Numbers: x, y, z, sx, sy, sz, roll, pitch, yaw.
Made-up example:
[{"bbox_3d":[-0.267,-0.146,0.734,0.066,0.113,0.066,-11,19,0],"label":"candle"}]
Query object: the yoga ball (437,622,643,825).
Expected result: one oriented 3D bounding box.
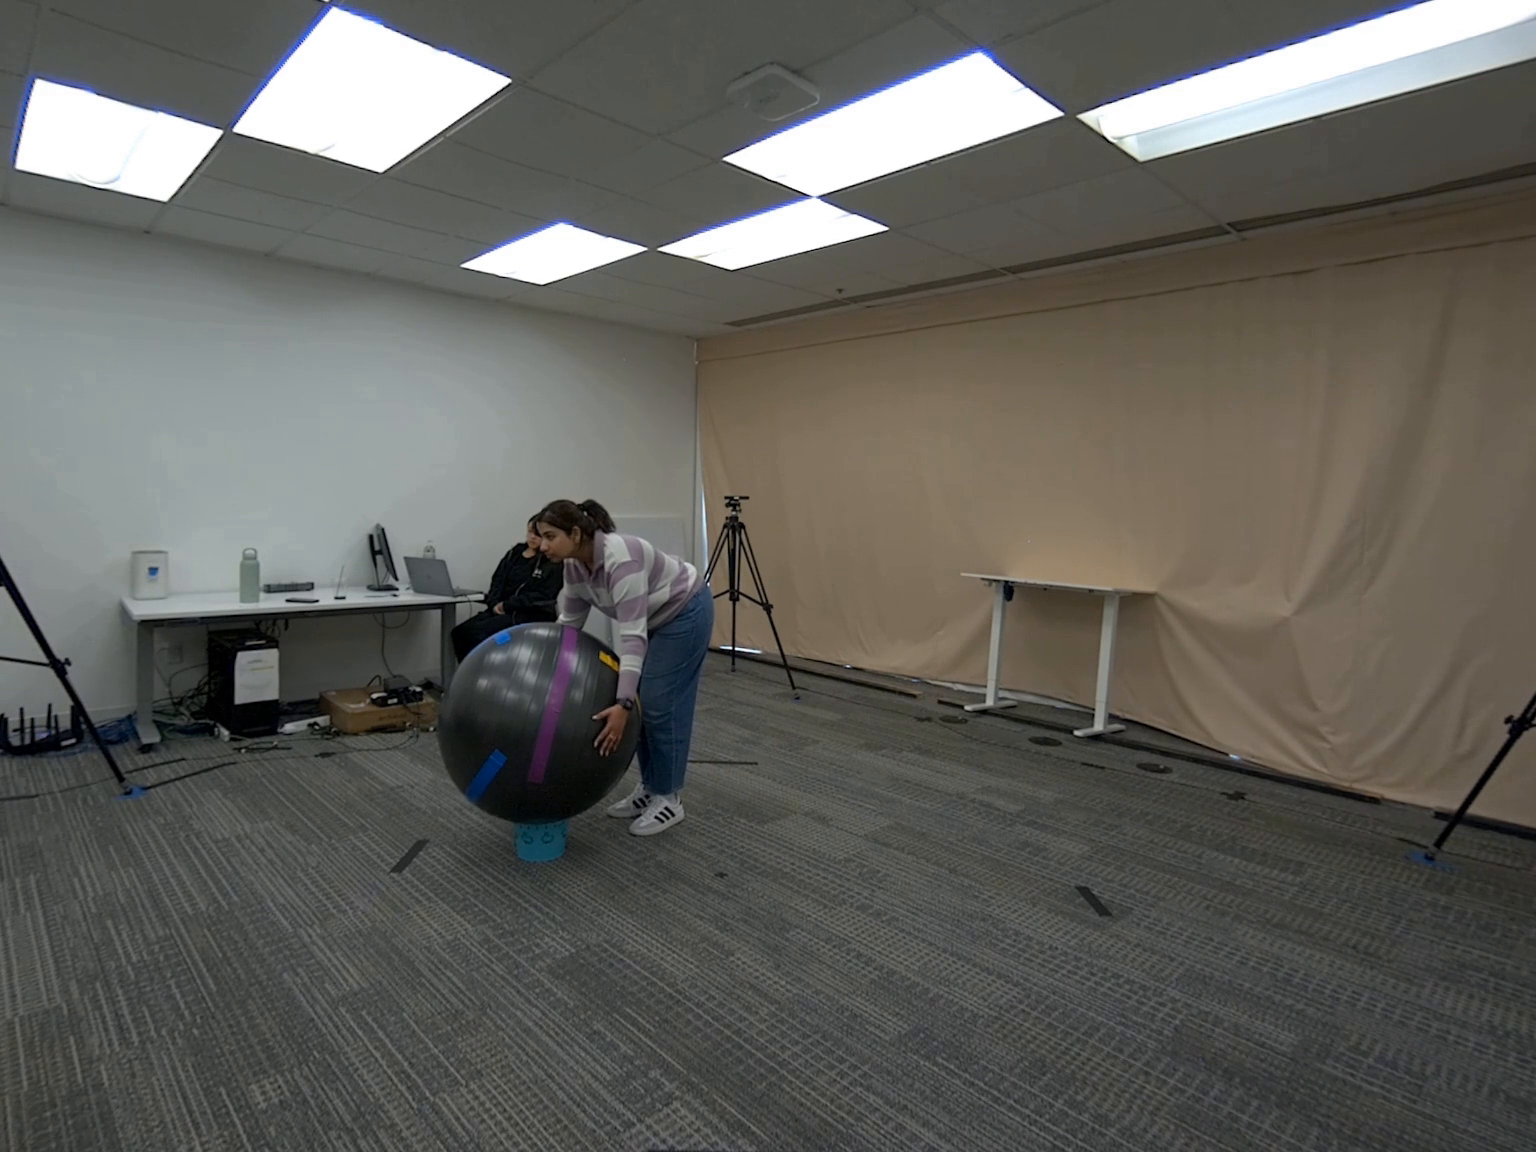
[{"bbox_3d":[-0.883,0.562,3.235,0.757,0.756,0.761,1,4,-1],"label":"yoga ball"}]
